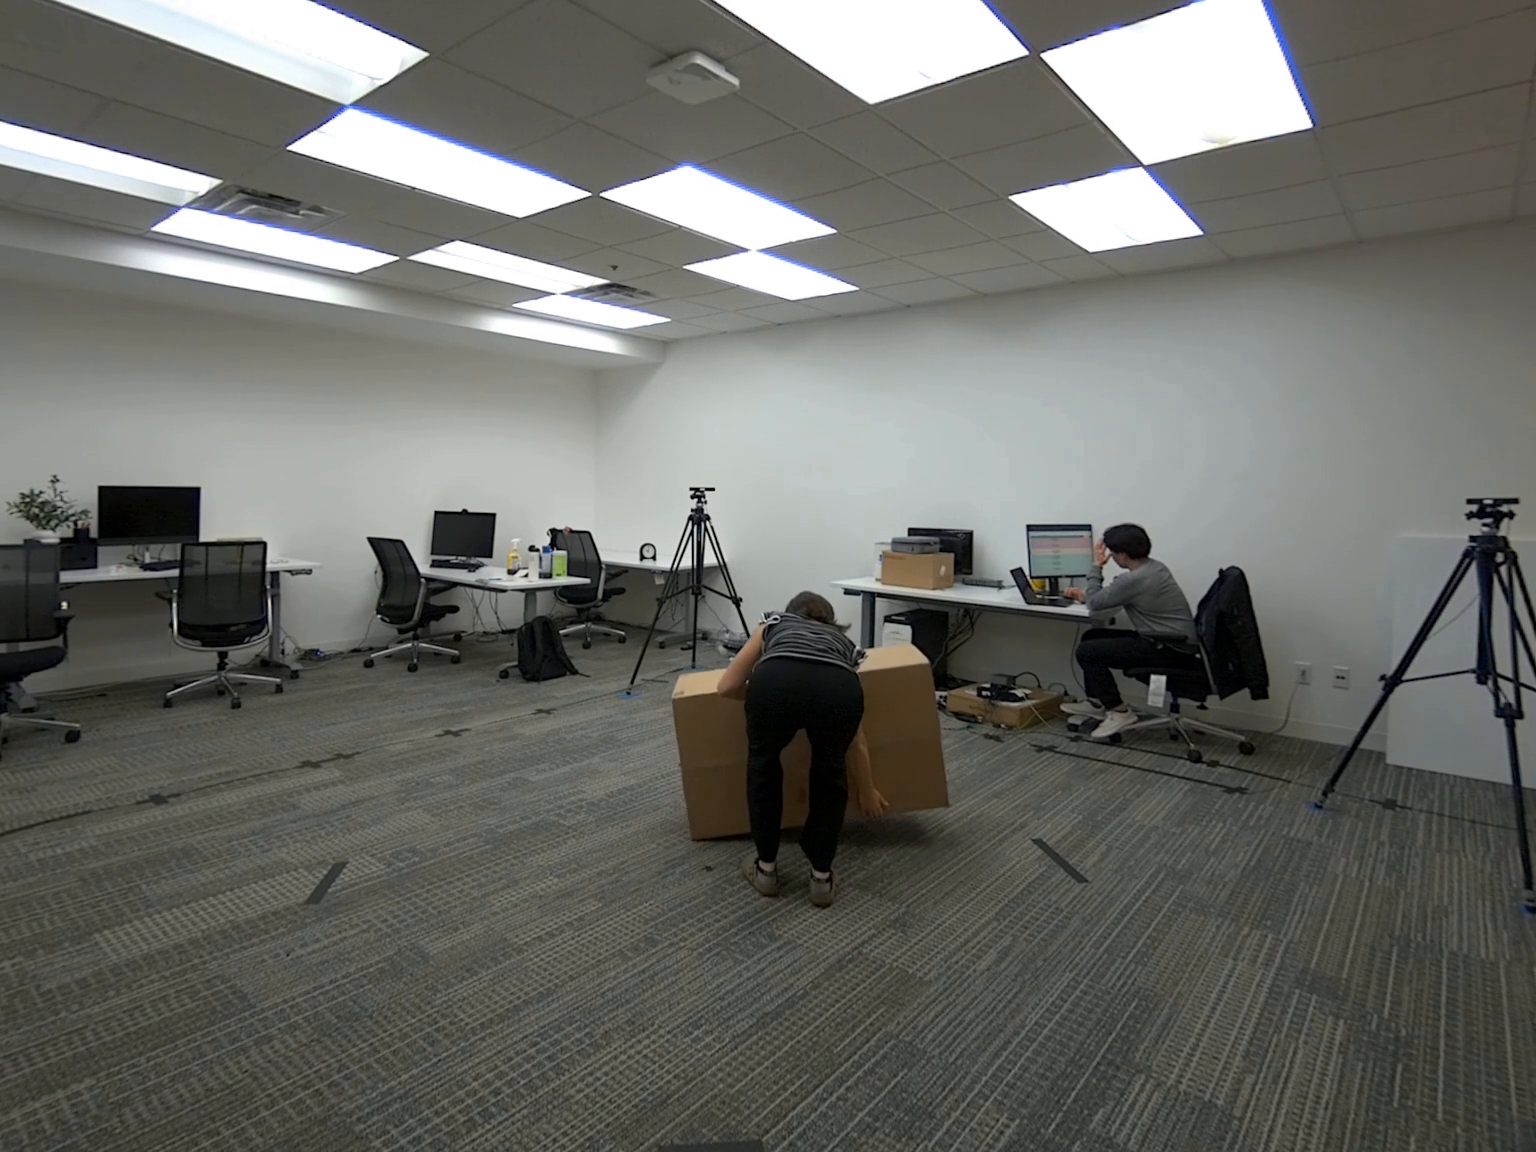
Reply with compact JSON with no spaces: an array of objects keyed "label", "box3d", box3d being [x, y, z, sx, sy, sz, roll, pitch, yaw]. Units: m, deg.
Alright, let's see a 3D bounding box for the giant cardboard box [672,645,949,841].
[{"label":"giant cardboard box","box3d":[0.145,0.658,3.523,1.029,0.575,0.427,-9,4,3]}]
